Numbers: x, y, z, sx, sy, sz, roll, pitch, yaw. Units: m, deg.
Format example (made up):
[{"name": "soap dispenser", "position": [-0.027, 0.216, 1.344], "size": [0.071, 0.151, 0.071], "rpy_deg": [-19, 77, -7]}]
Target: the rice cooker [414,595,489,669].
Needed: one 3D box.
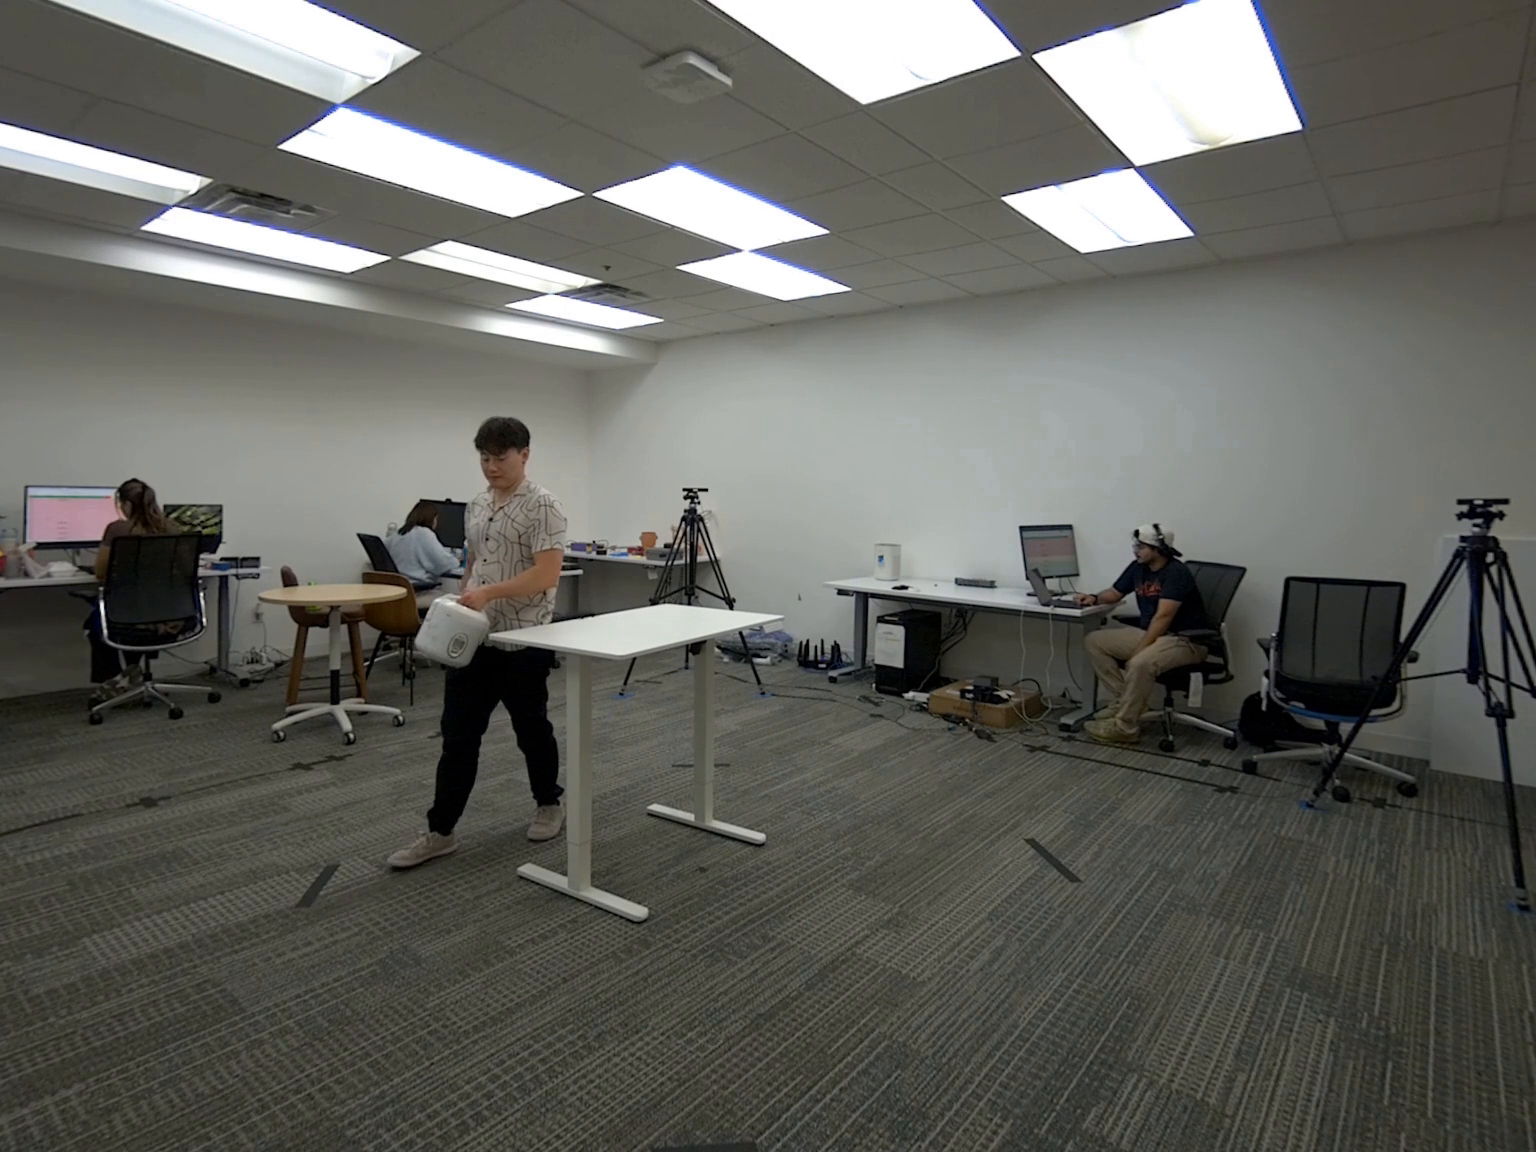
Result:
[{"name": "rice cooker", "position": [-1.127, 0.181, 3.020], "size": [0.212, 0.233, 0.225], "rpy_deg": [26, -6, -34]}]
